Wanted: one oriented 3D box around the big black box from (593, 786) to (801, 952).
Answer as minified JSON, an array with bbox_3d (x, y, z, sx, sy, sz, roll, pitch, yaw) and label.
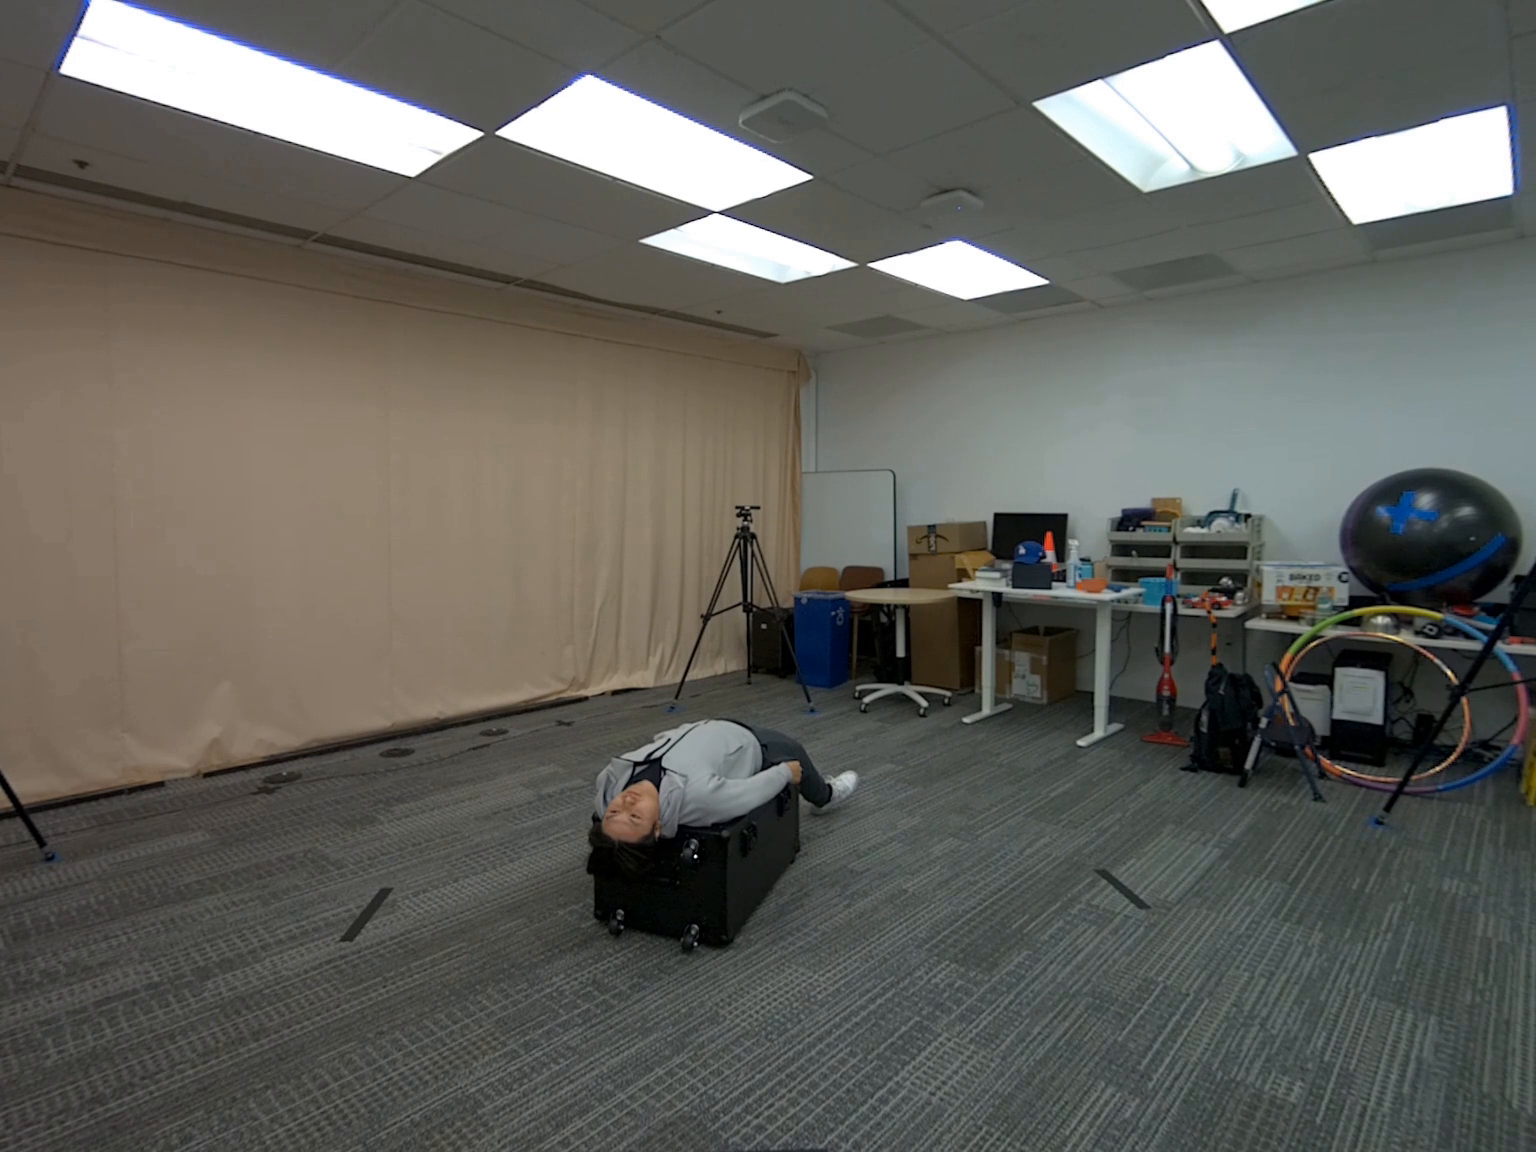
[{"bbox_3d":[-0.210,0.953,3.087,0.533,0.395,0.844,1,5,21],"label":"big black box"}]
